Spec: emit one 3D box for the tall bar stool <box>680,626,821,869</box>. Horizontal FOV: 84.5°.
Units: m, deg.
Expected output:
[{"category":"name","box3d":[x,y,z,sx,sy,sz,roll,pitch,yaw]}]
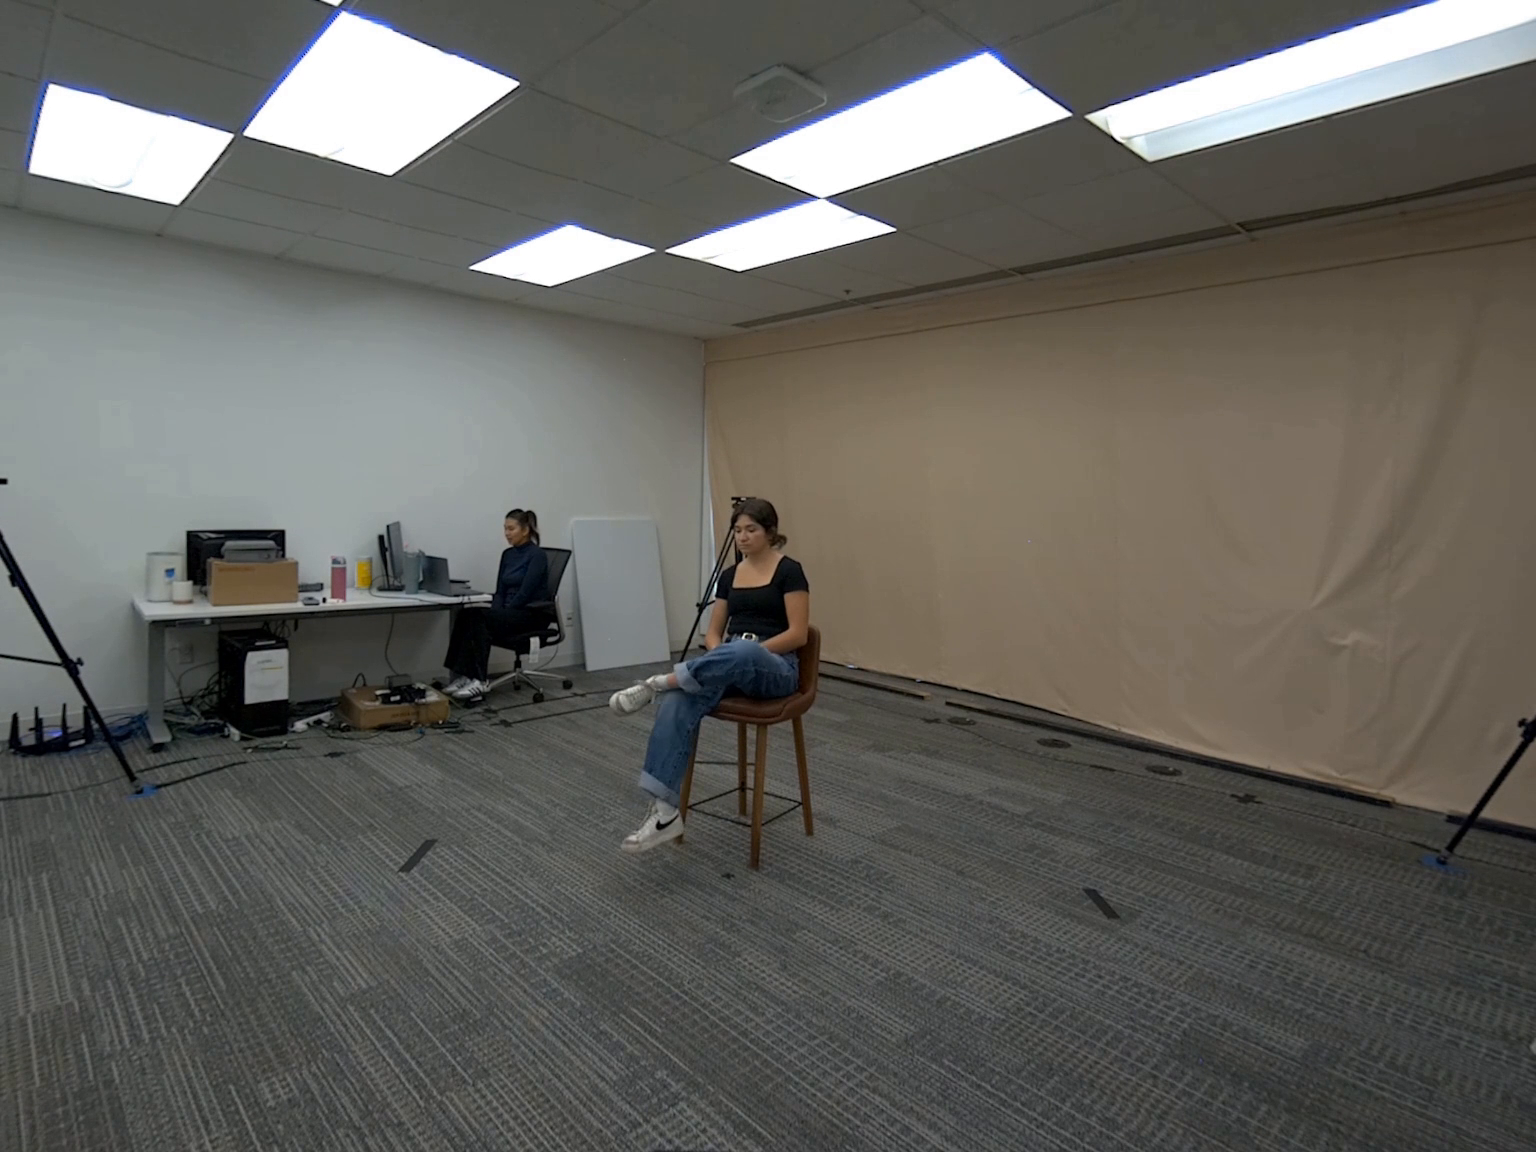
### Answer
[{"category":"tall bar stool","box3d":[-0.074,0.646,3.440,0.467,0.889,0.457,4,2,36]}]
